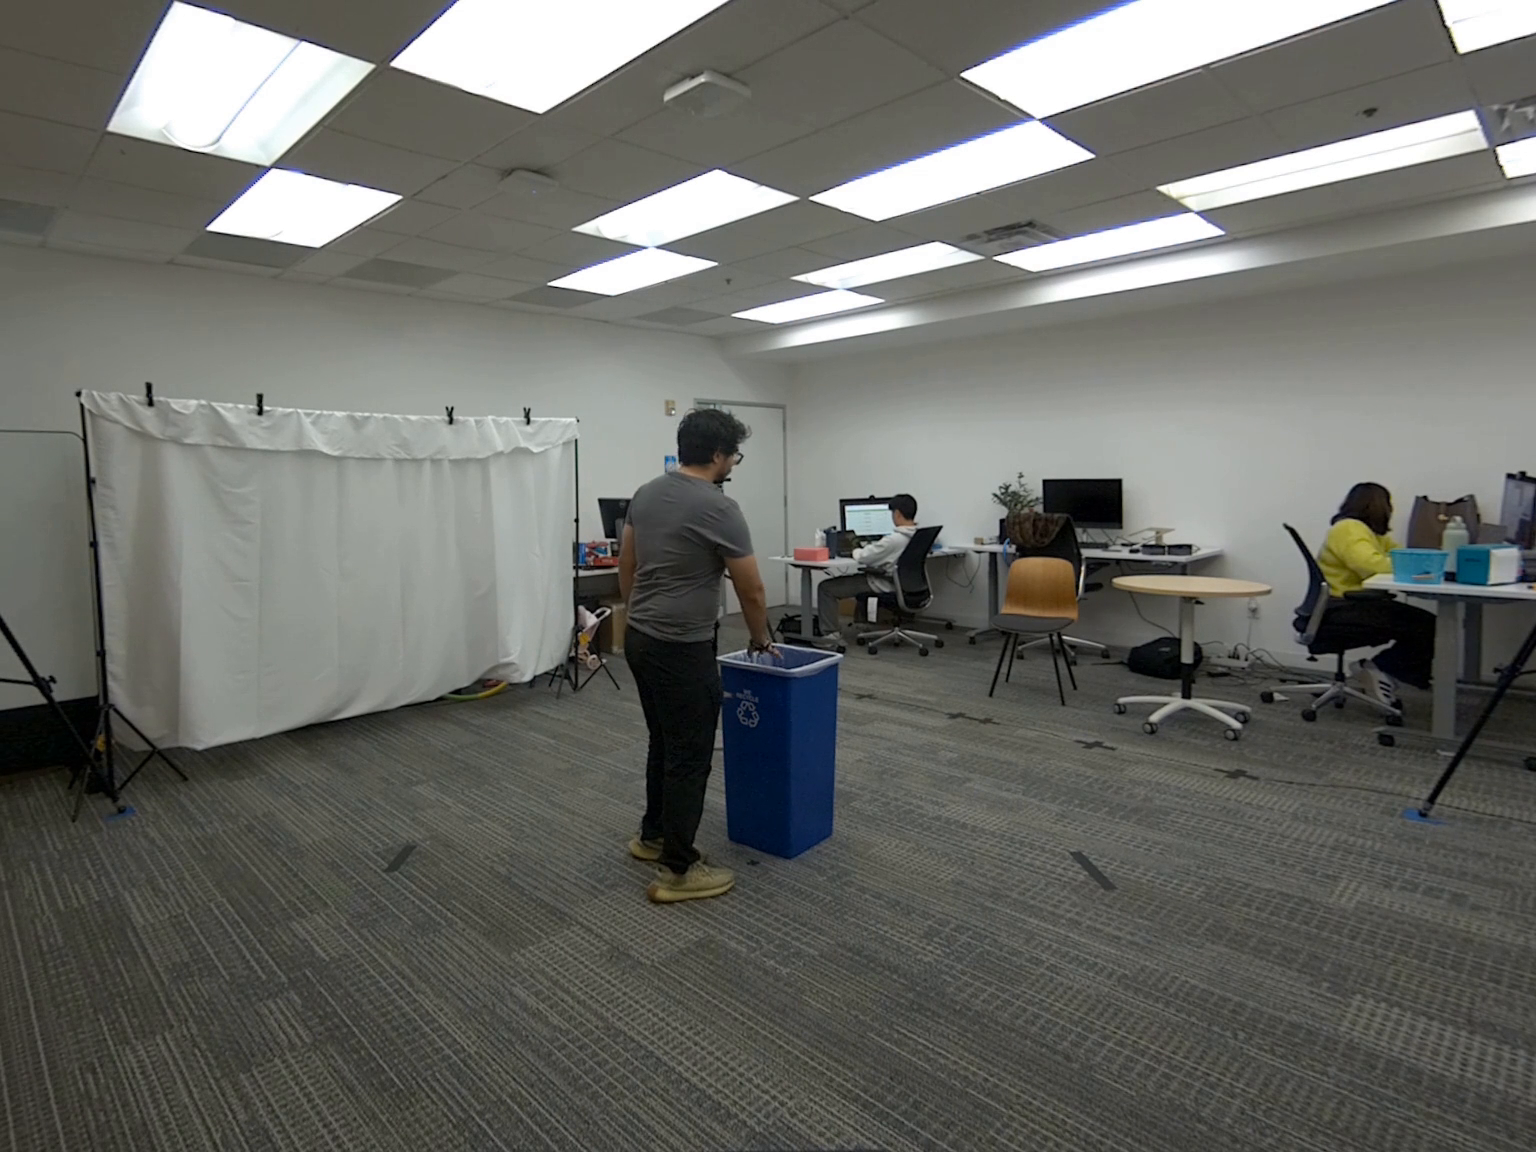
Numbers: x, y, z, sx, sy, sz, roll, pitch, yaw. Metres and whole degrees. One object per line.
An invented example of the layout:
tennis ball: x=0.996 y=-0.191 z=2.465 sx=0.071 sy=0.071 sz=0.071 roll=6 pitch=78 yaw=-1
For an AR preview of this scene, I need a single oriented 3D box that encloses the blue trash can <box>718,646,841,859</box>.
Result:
blue trash can: x=0.057 y=0.659 z=3.305 sx=0.385 sy=0.711 sz=0.368 roll=2 pitch=5 yaw=39
